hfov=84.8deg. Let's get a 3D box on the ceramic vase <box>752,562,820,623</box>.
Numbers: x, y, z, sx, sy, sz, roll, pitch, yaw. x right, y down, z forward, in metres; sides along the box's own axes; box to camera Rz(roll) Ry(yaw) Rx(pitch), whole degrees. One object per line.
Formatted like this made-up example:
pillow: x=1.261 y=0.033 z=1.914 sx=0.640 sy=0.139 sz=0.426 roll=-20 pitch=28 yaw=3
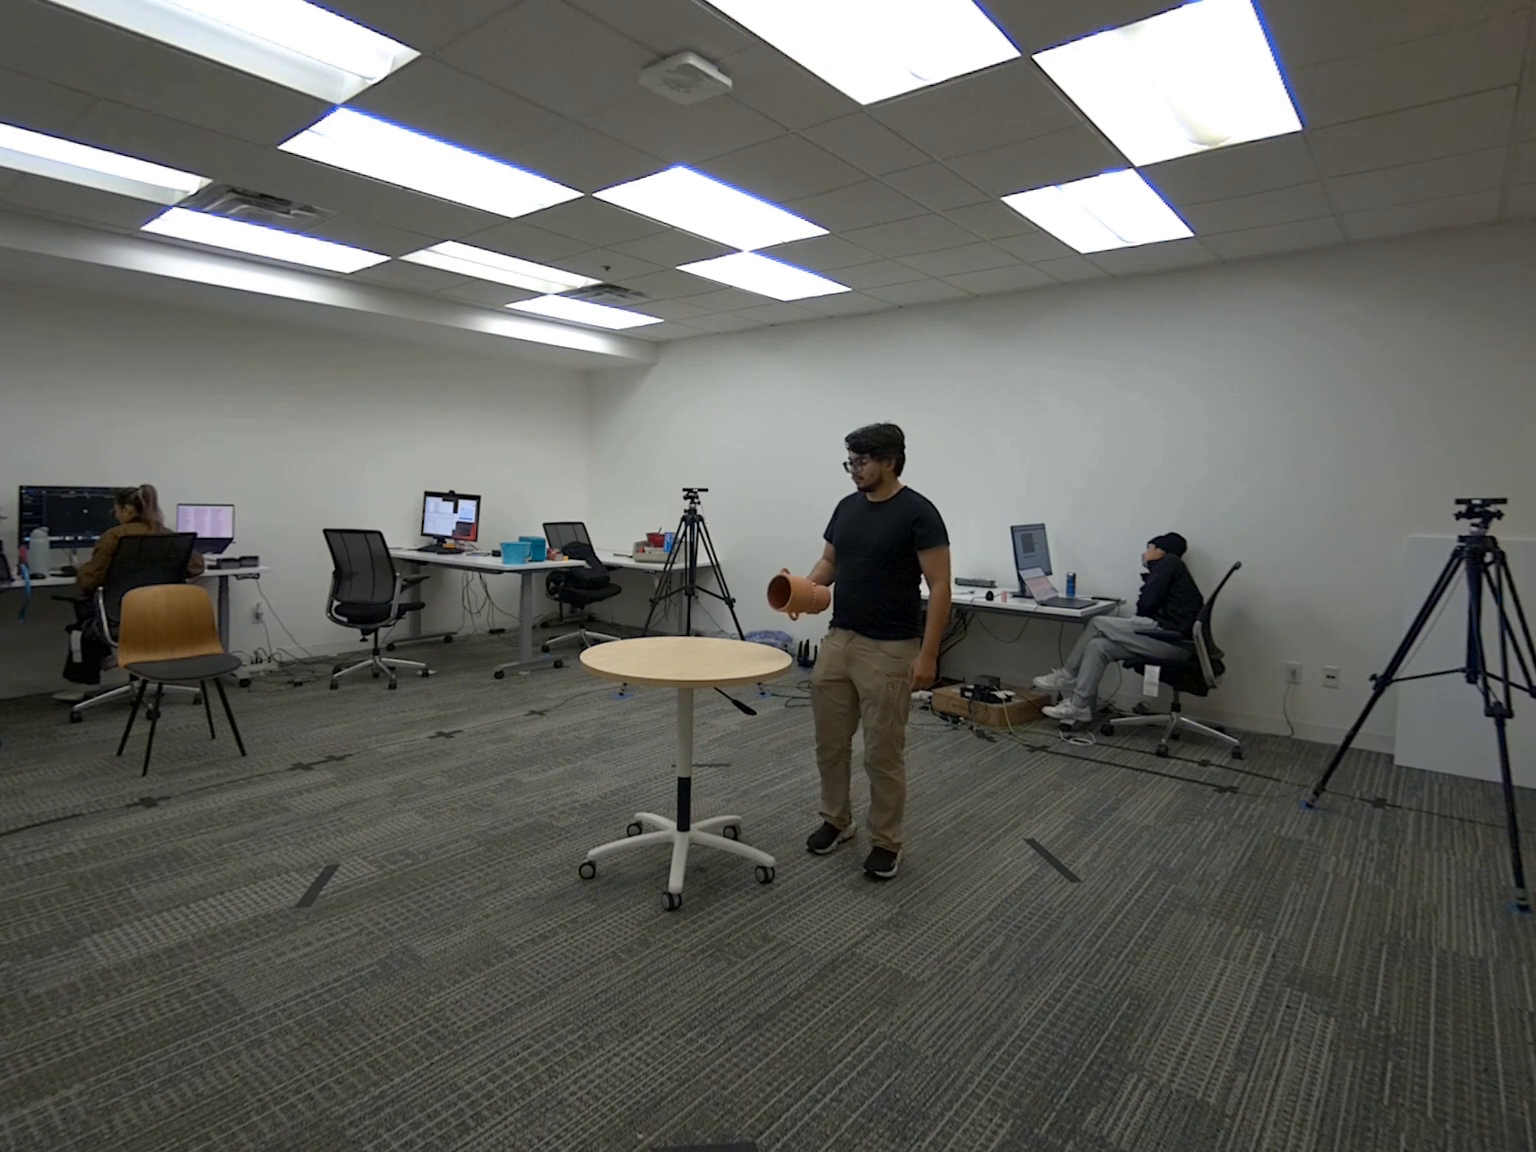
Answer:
ceramic vase: x=0.084 y=0.060 z=3.074 sx=0.212 sy=0.158 sz=0.140 roll=11 pitch=10 yaw=-45
